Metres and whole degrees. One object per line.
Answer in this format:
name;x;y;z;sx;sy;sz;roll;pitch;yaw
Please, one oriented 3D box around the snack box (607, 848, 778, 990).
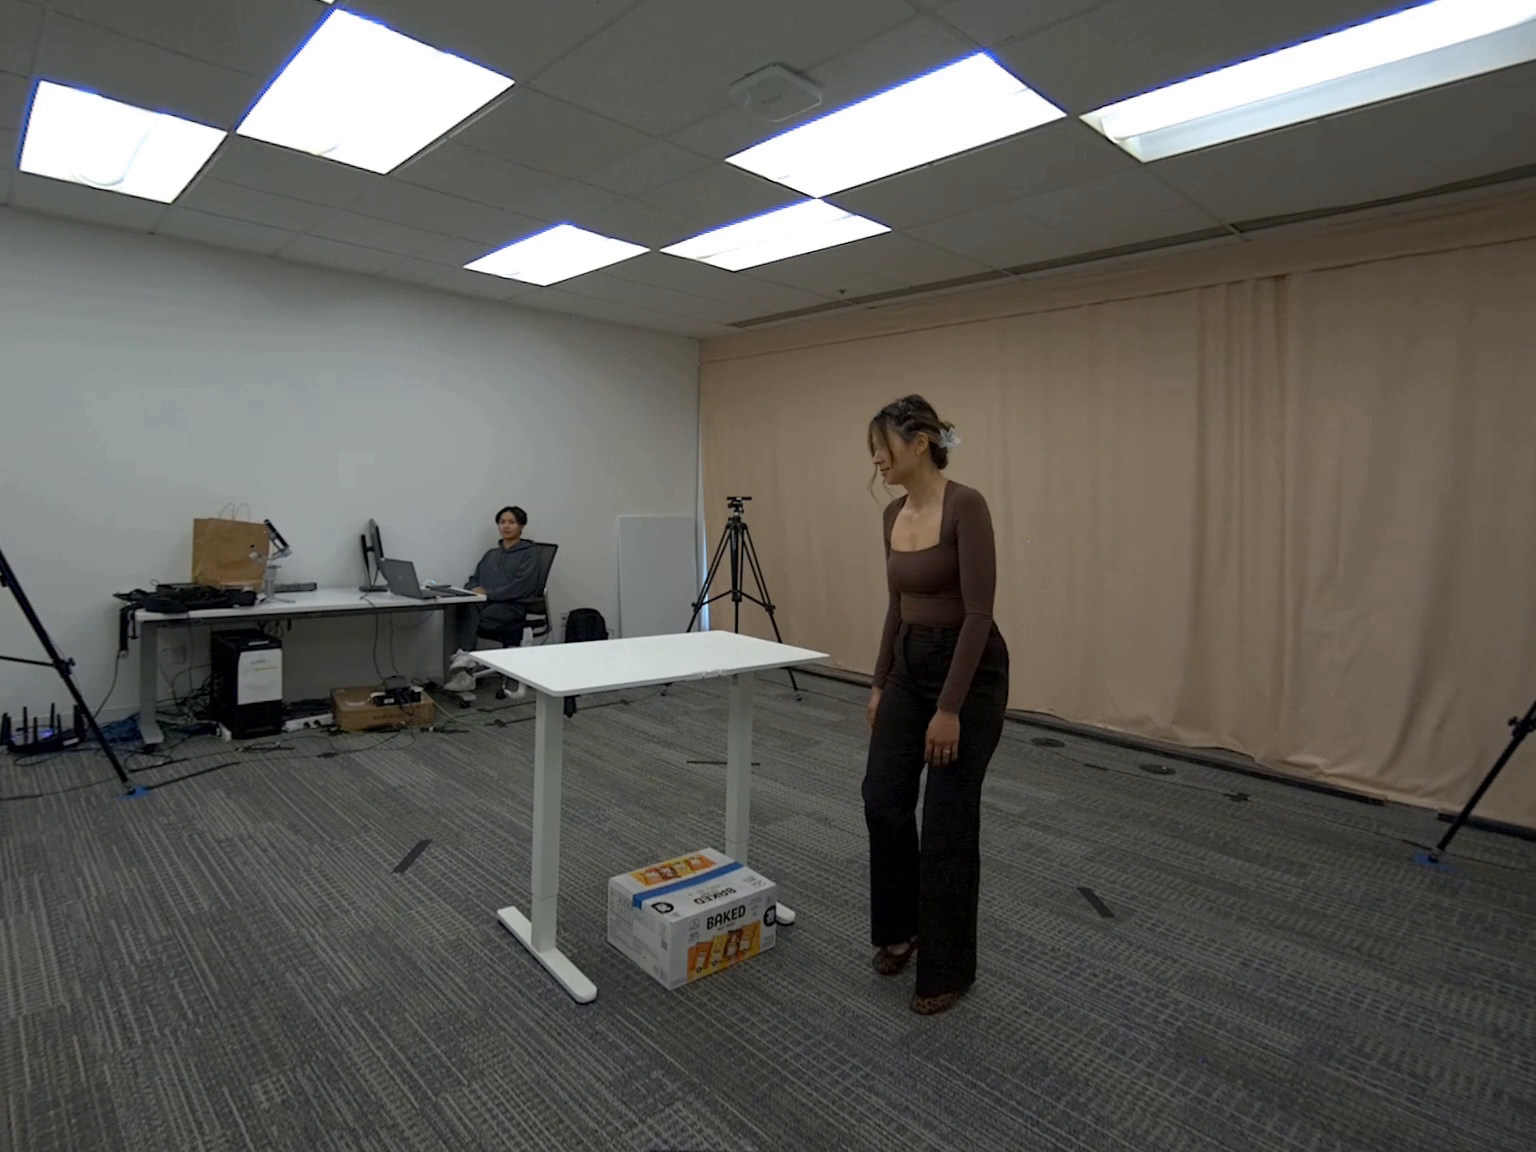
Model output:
snack box;-0.239;1.049;2.606;0.396;0.205;0.349;-3;6;-41
